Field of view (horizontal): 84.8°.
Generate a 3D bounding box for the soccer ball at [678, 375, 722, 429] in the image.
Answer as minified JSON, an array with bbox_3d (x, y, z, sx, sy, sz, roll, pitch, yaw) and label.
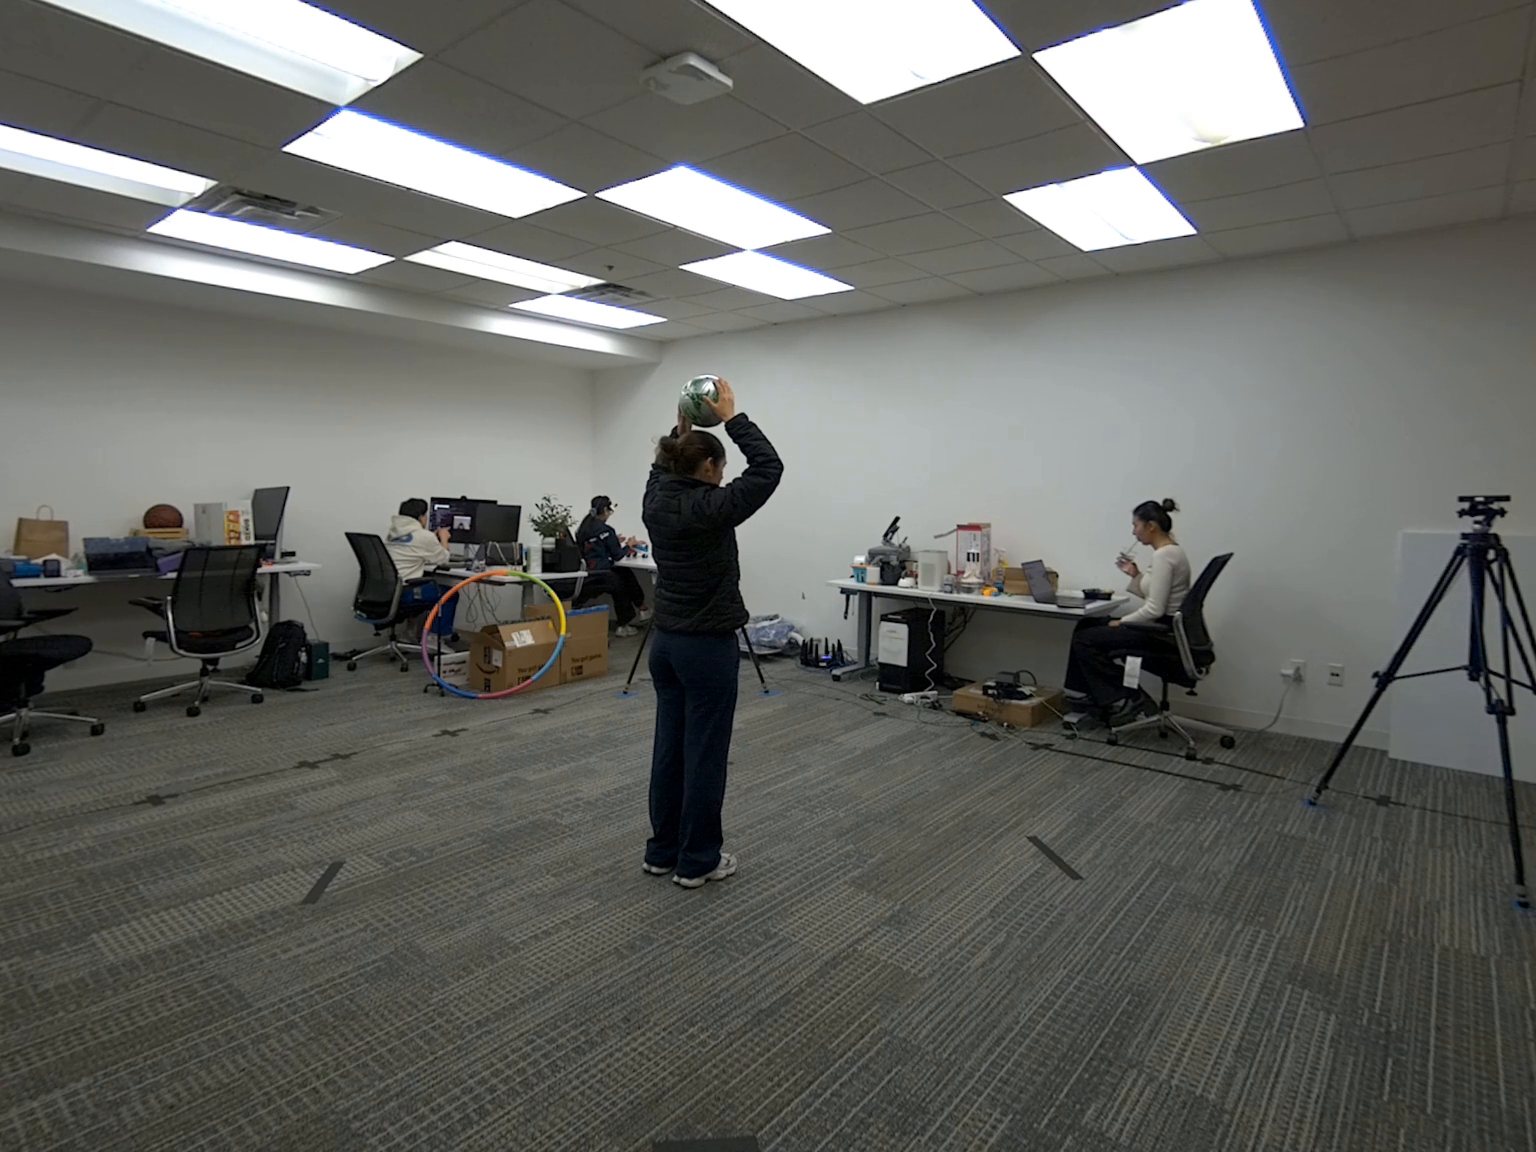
[{"bbox_3d":[-0.230,-0.622,3.037,0.187,0.187,0.188,1,4,-2],"label":"soccer ball"}]
